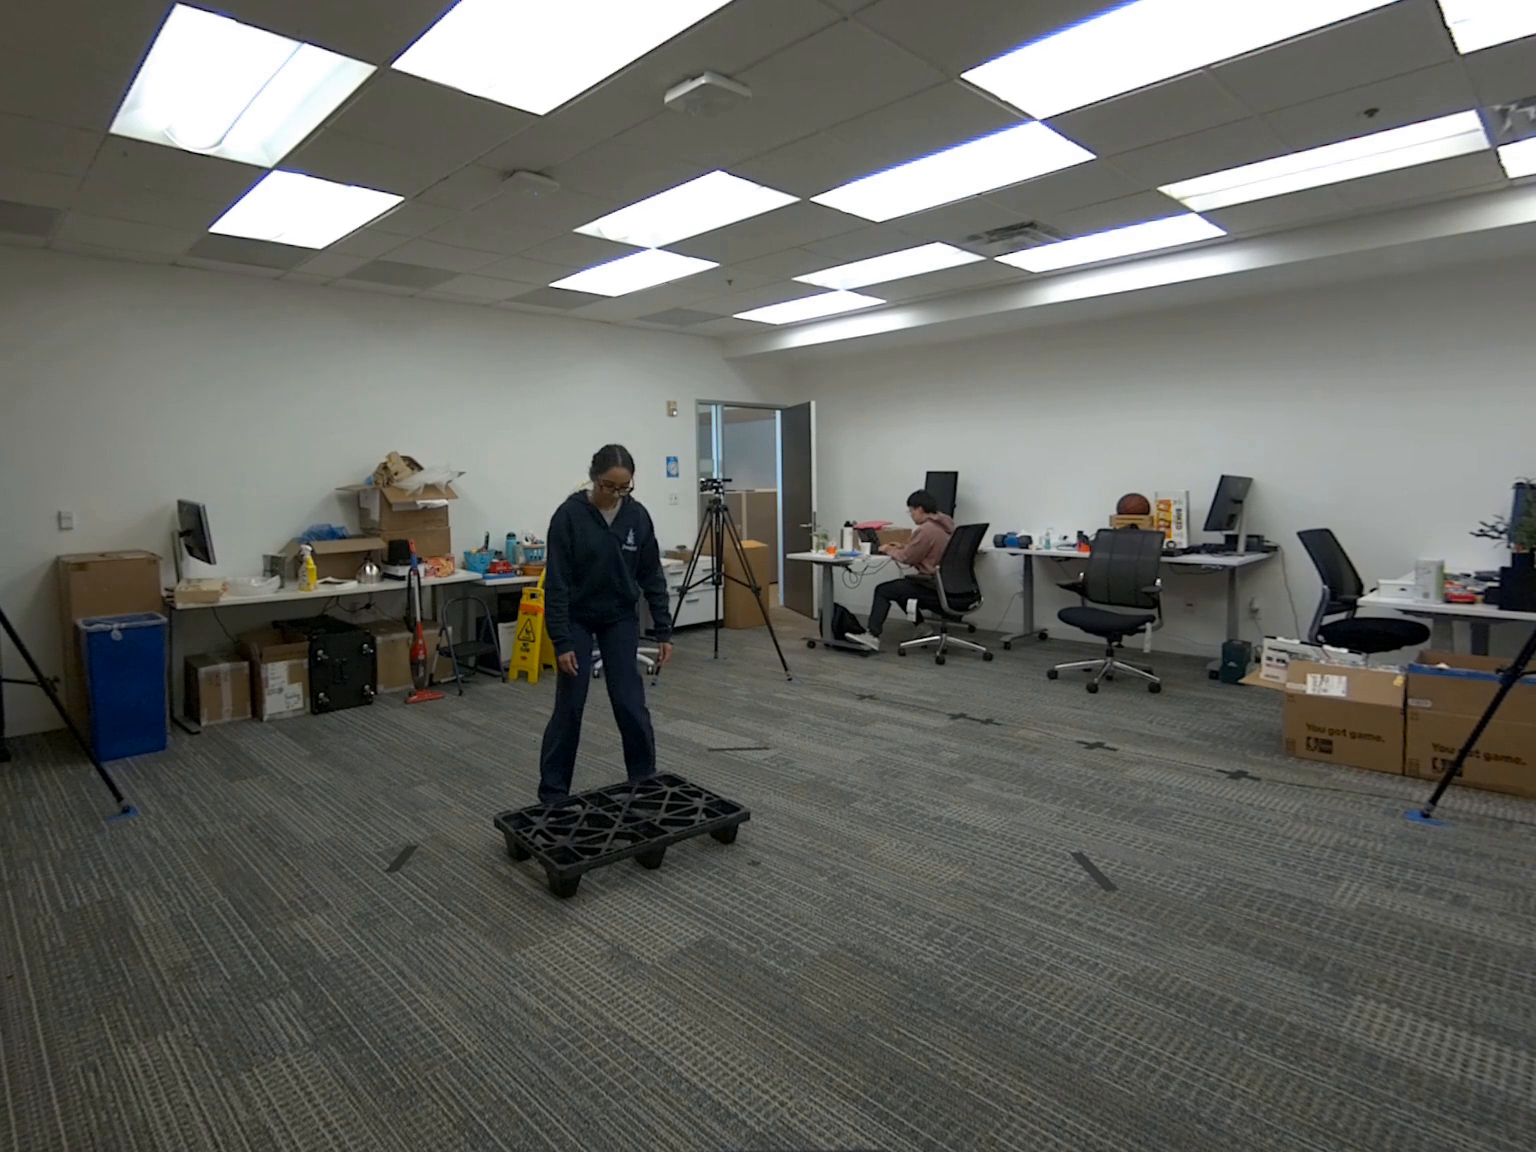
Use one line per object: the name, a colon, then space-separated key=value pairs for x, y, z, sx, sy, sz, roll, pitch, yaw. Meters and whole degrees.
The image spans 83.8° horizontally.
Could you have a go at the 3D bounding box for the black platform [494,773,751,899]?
black platform: x=-0.547 y=0.971 z=3.256 sx=0.785 sy=0.142 sz=0.624 roll=-6 pitch=8 yaw=-37
